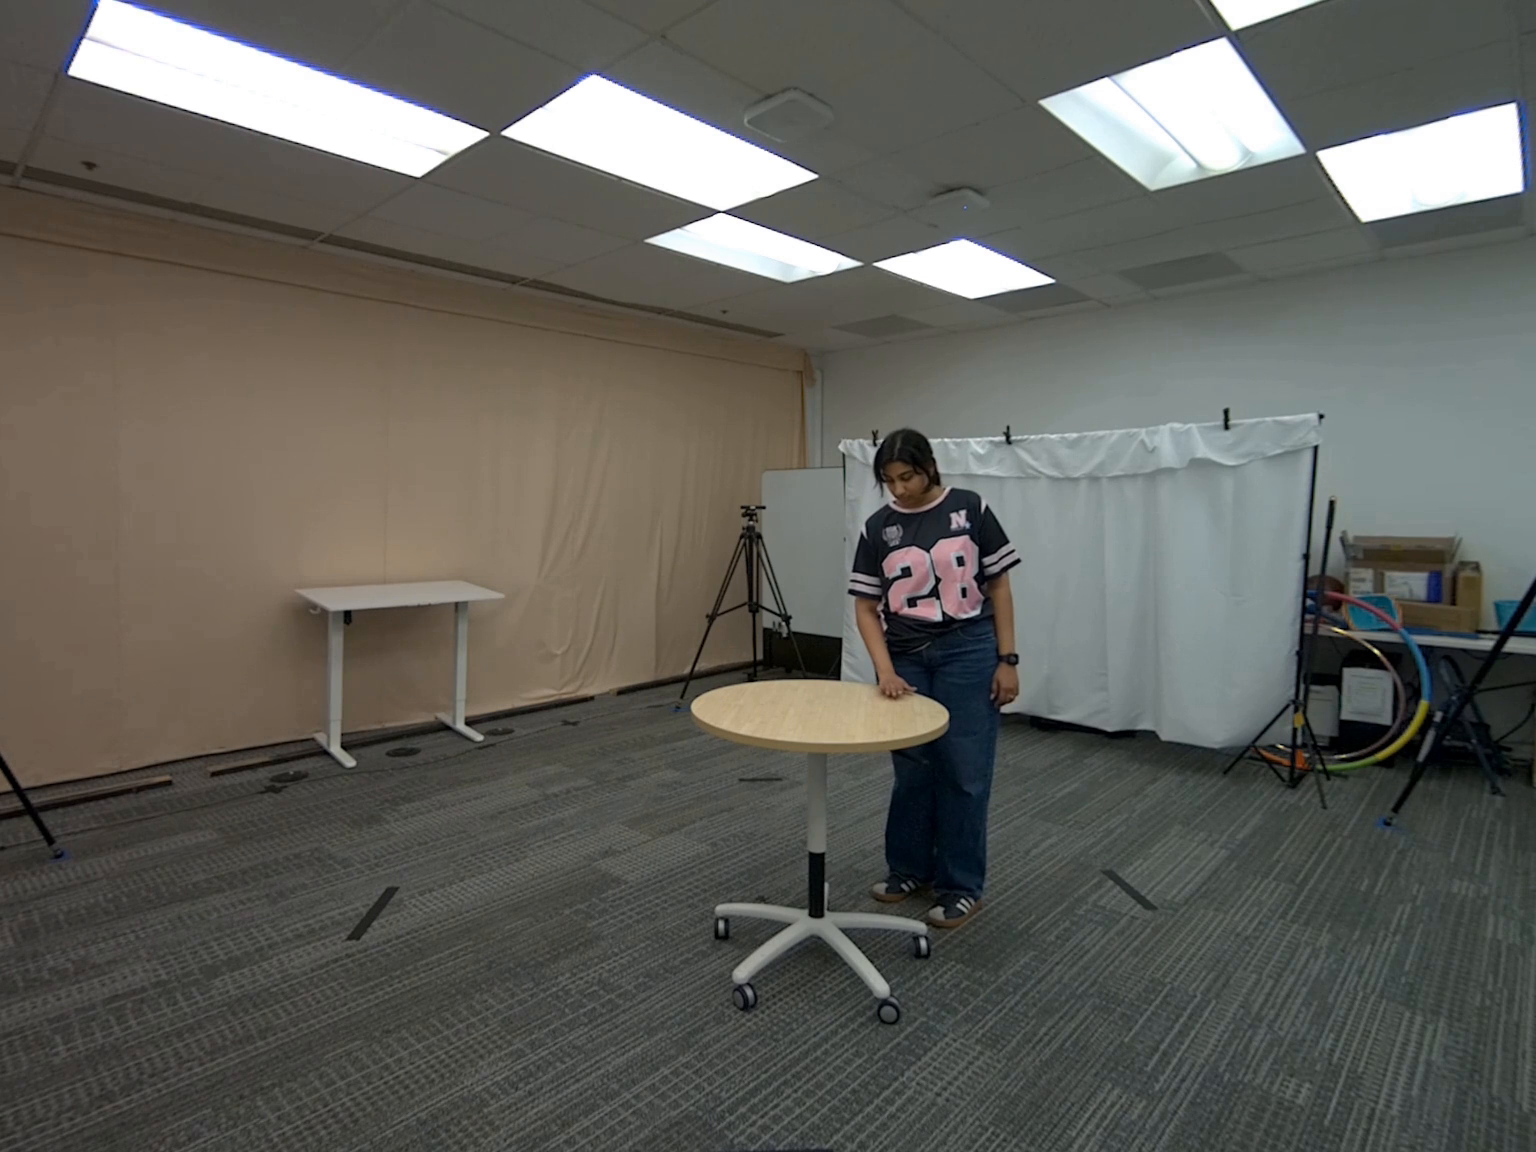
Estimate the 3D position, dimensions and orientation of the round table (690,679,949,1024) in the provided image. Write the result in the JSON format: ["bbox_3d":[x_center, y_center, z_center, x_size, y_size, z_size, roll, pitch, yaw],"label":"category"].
[{"bbox_3d":[0.165,0.786,2.555,0.784,0.784,0.788,0,4,-2],"label":"round table"}]
